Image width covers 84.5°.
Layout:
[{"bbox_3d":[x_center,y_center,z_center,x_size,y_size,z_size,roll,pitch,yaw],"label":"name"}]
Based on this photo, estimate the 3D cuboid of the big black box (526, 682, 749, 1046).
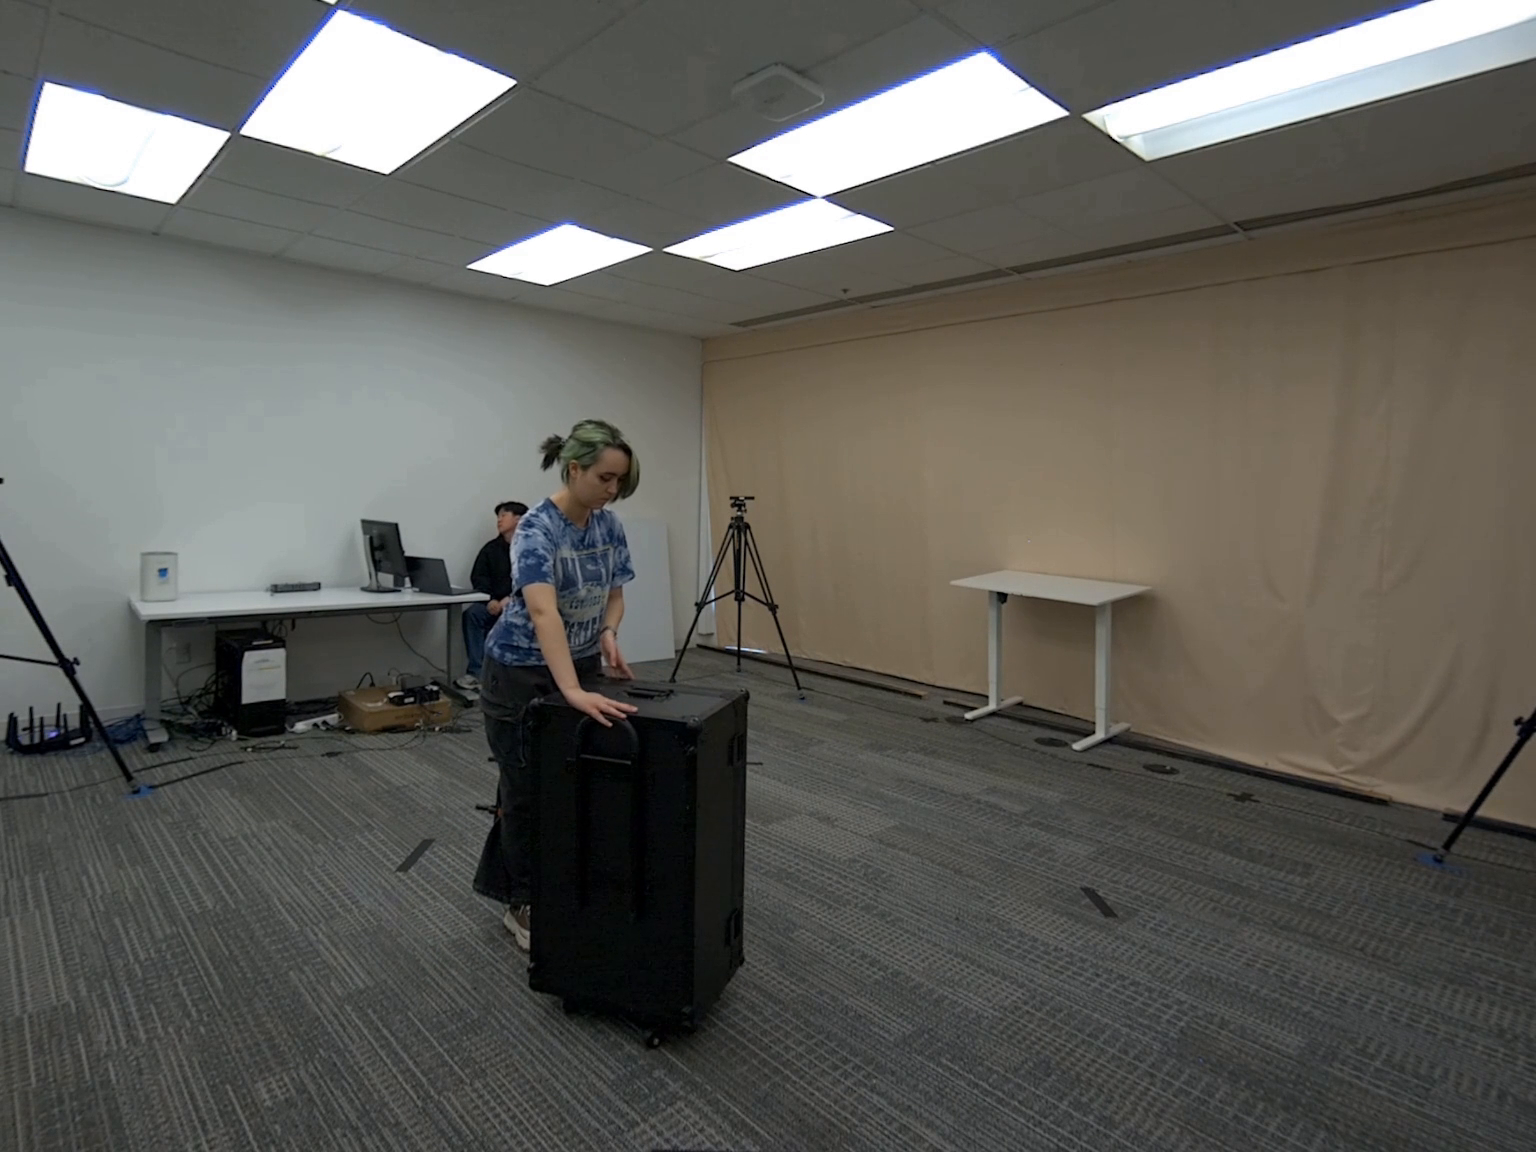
[{"bbox_3d":[-0.348,0.752,2.272,0.530,0.859,0.391,3,4,21],"label":"big black box"}]
